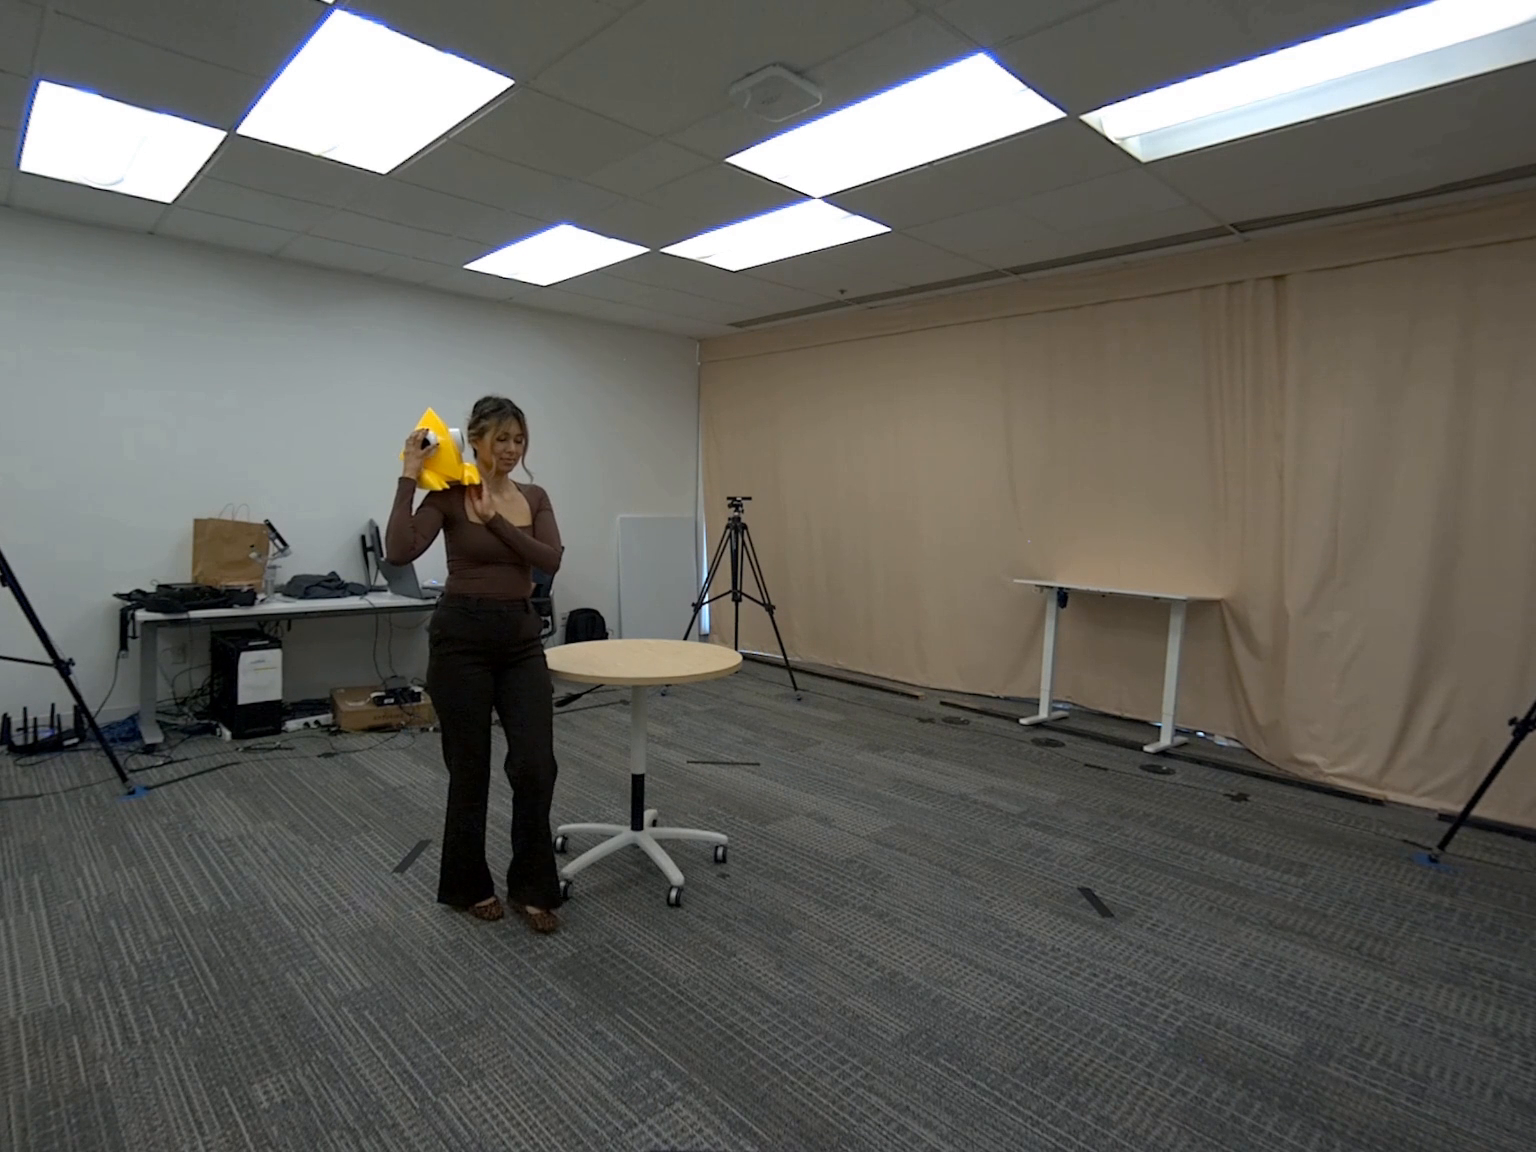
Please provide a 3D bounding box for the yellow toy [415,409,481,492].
[{"bbox_3d":[-1.026,-0.403,2.626,0.198,0.228,0.201,16,23,39],"label":"yellow toy"}]
